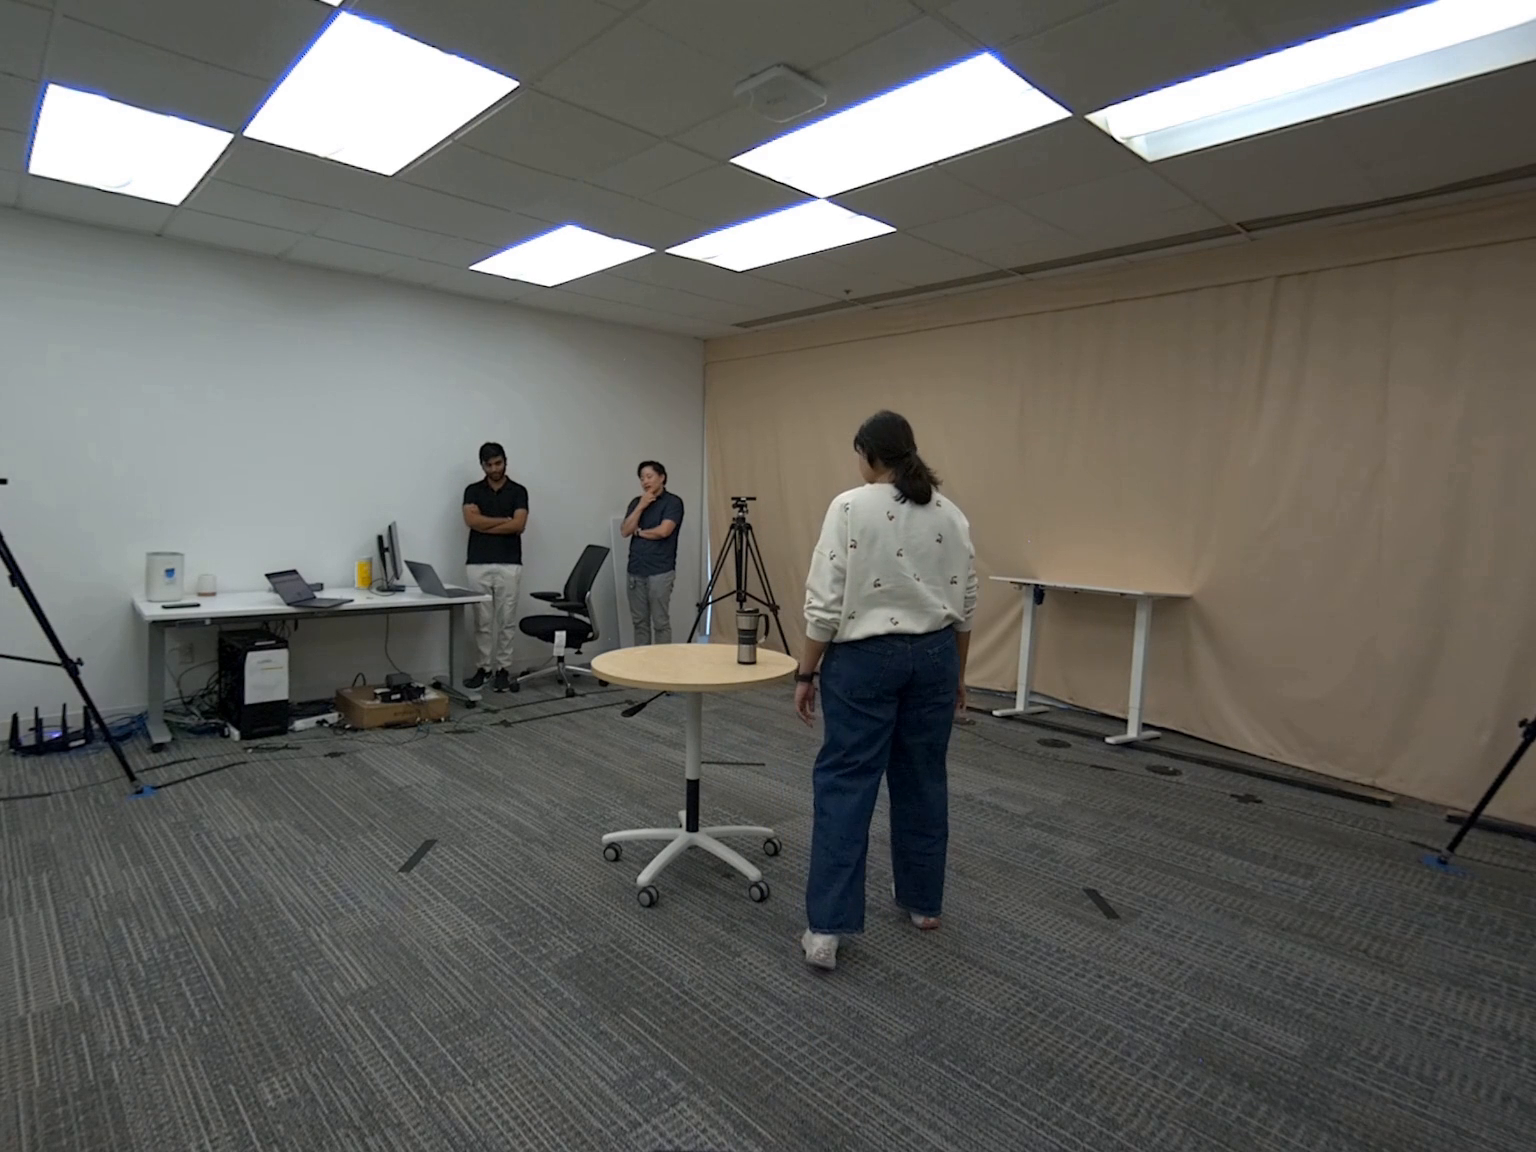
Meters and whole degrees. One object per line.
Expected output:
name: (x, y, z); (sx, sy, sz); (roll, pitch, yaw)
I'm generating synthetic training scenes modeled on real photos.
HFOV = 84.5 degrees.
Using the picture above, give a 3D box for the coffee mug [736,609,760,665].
coffee mug: (-0.060, 0.226, 3.091); (0.124, 0.203, 0.086); (1, 1, 24)
